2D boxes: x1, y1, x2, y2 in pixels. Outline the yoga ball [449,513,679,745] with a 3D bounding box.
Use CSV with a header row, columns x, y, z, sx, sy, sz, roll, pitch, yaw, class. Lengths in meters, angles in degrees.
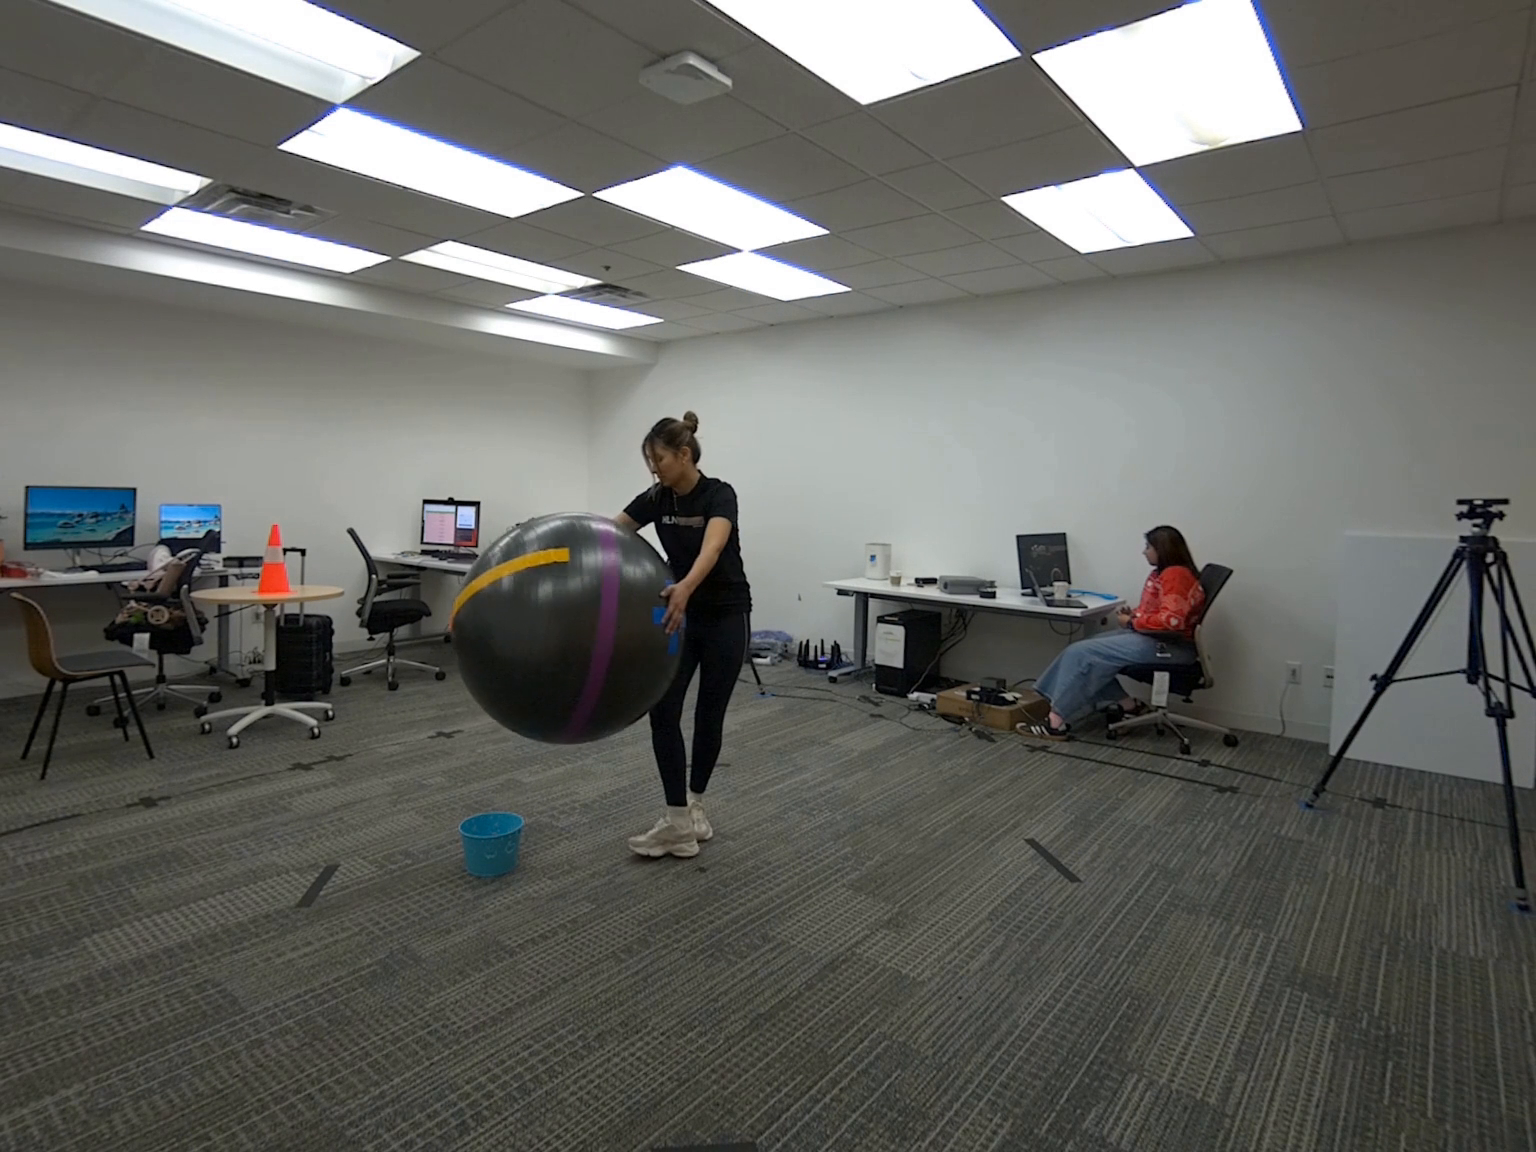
x,y,z,sx,sy,sz,roll,pitch,yaw,class
-0.660,0.176,2.809,0.757,0.756,0.762,1,4,-2,yoga ball
